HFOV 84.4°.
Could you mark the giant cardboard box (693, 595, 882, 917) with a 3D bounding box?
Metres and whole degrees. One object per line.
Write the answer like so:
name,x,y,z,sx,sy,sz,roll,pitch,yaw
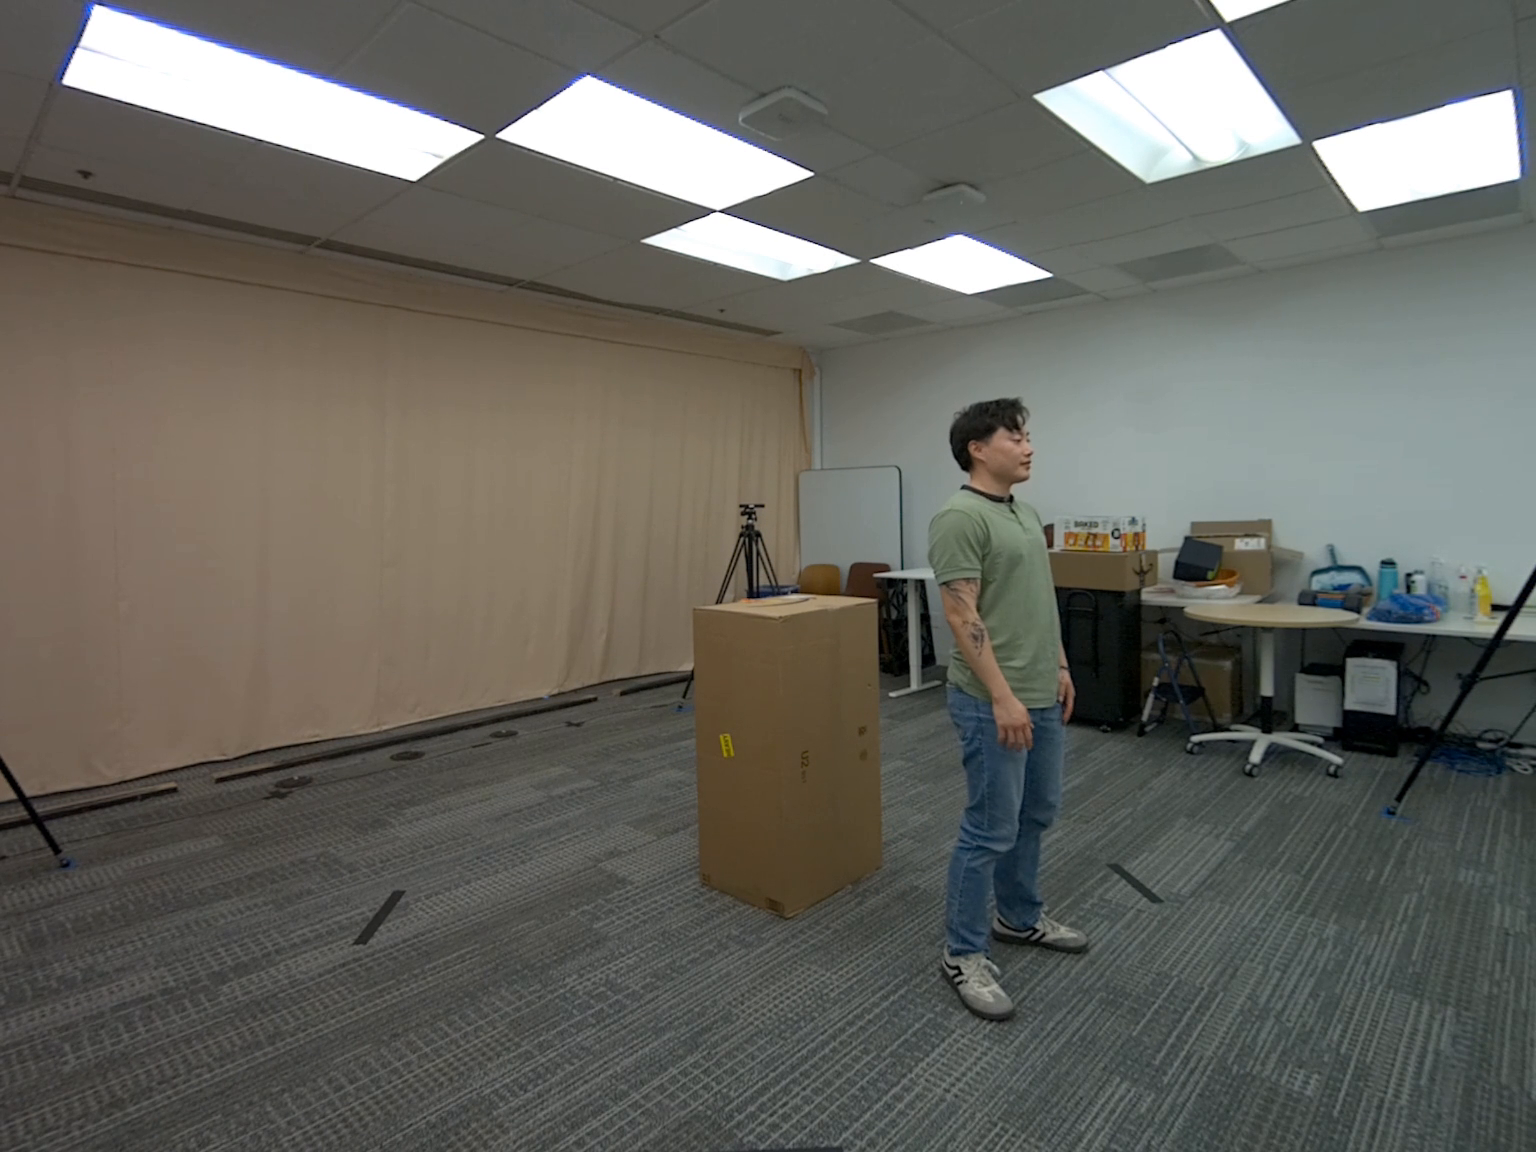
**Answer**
giant cardboard box,0.081,0.614,3.139,0.440,1.024,0.560,2,4,44
